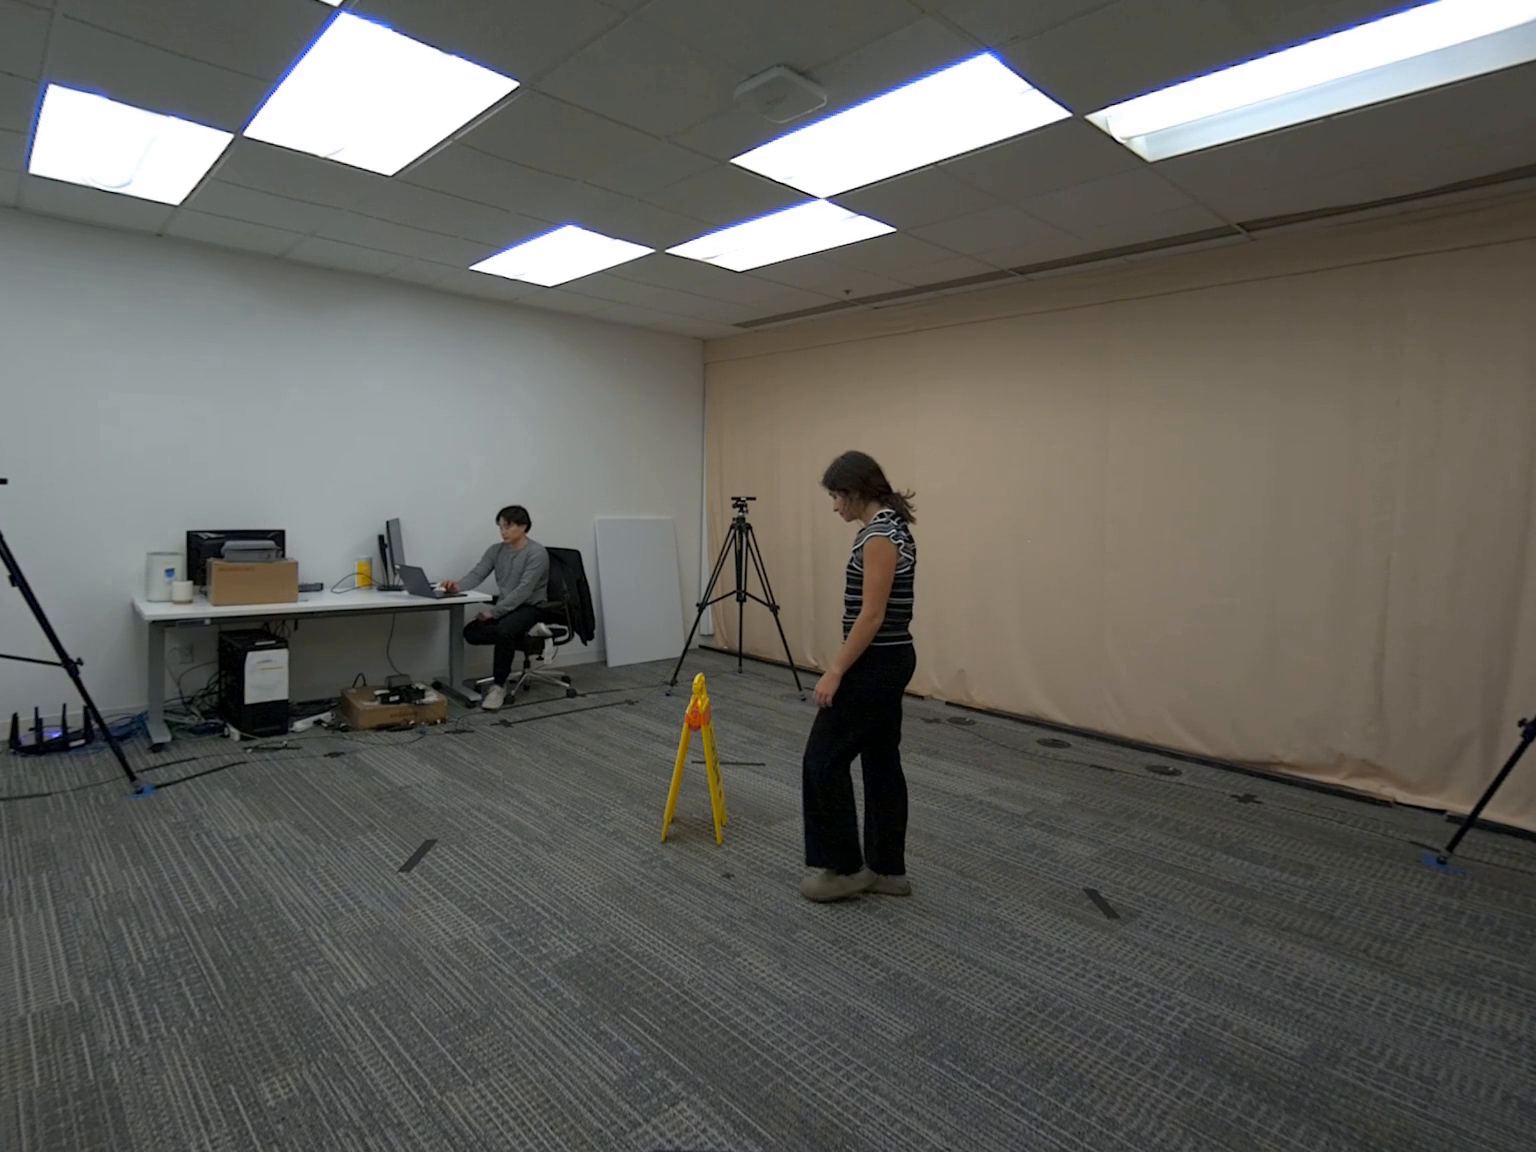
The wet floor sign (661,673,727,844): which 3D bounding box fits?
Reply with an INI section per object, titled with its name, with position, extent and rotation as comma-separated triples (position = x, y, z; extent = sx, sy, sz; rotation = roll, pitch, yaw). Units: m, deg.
[wet floor sign]
position = -0.301, 0.745, 3.500
extent = 0.290, 0.644, 0.282
rotation = 3, 4, 3
